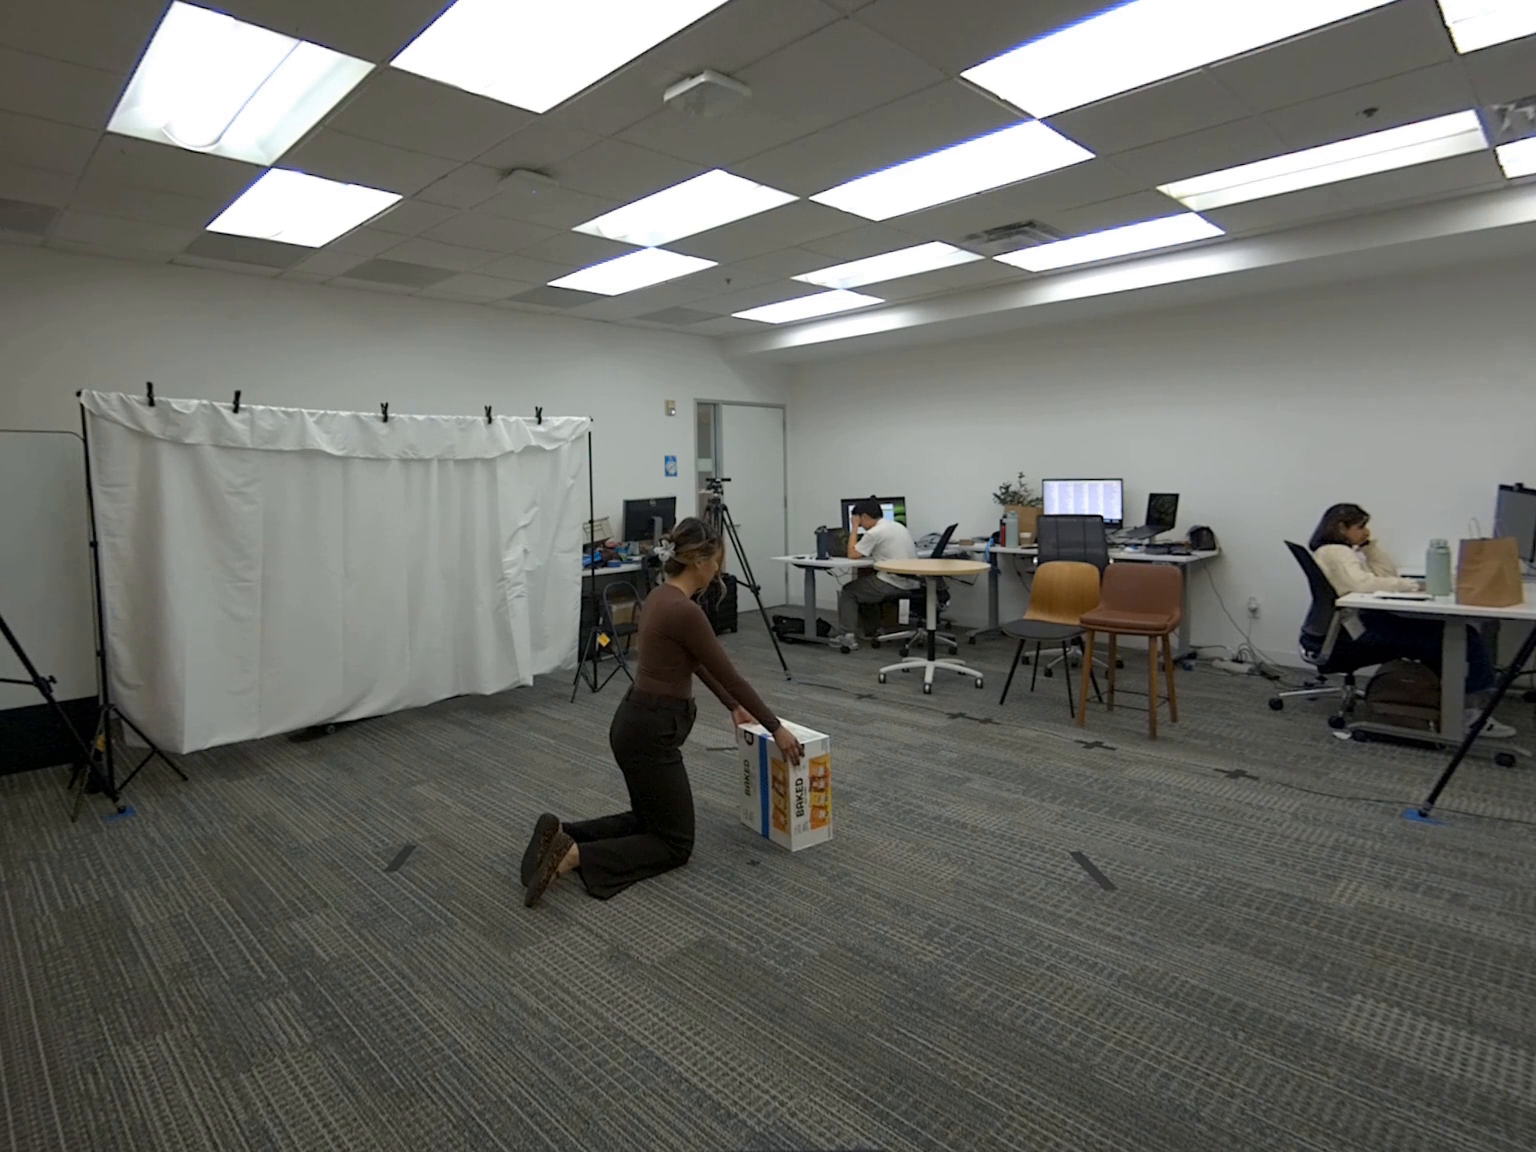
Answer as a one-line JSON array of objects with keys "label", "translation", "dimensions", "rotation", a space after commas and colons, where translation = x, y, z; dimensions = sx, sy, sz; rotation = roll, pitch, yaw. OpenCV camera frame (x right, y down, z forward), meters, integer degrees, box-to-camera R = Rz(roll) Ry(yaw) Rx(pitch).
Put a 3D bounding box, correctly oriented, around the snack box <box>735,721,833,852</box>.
[{"label": "snack box", "translation": [0.062, 0.805, 3.367], "dimensions": [0.201, 0.403, 0.350], "rotation": [-5, 6, -34]}]
